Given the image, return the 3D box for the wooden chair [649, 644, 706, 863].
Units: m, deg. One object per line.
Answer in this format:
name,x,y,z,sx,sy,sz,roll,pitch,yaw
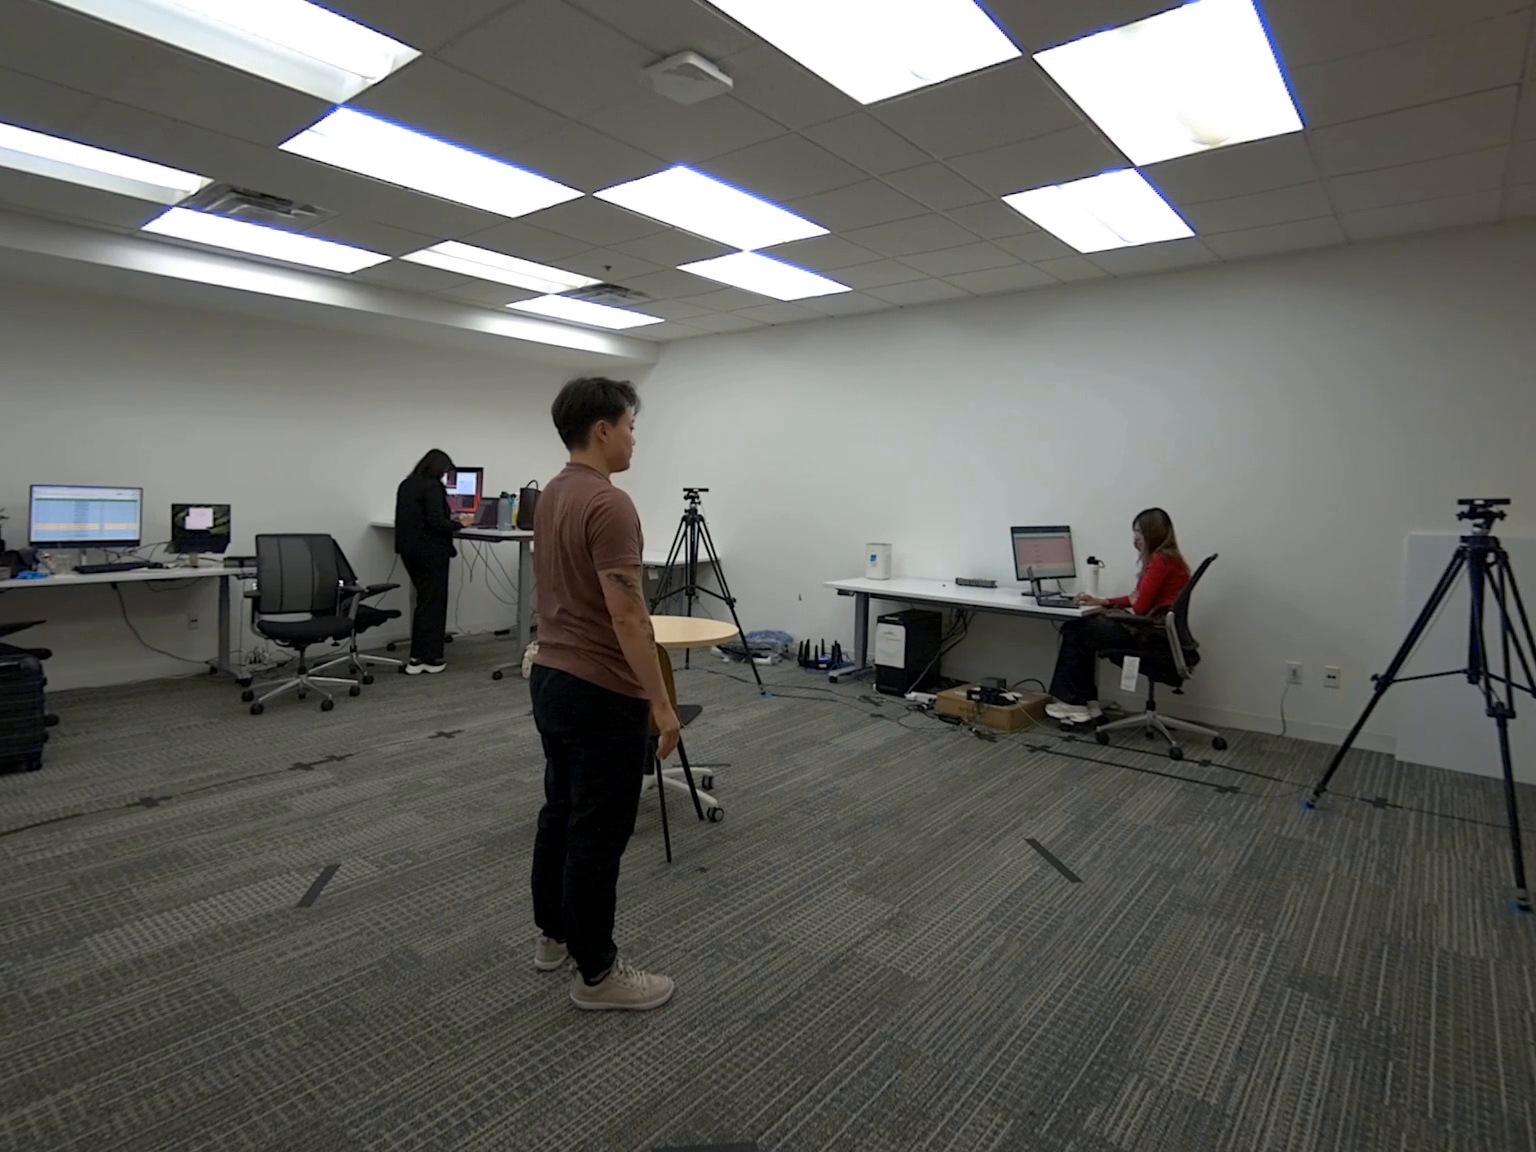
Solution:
wooden chair,-0.534,0.602,3.401,0.486,0.872,0.518,1,7,14
